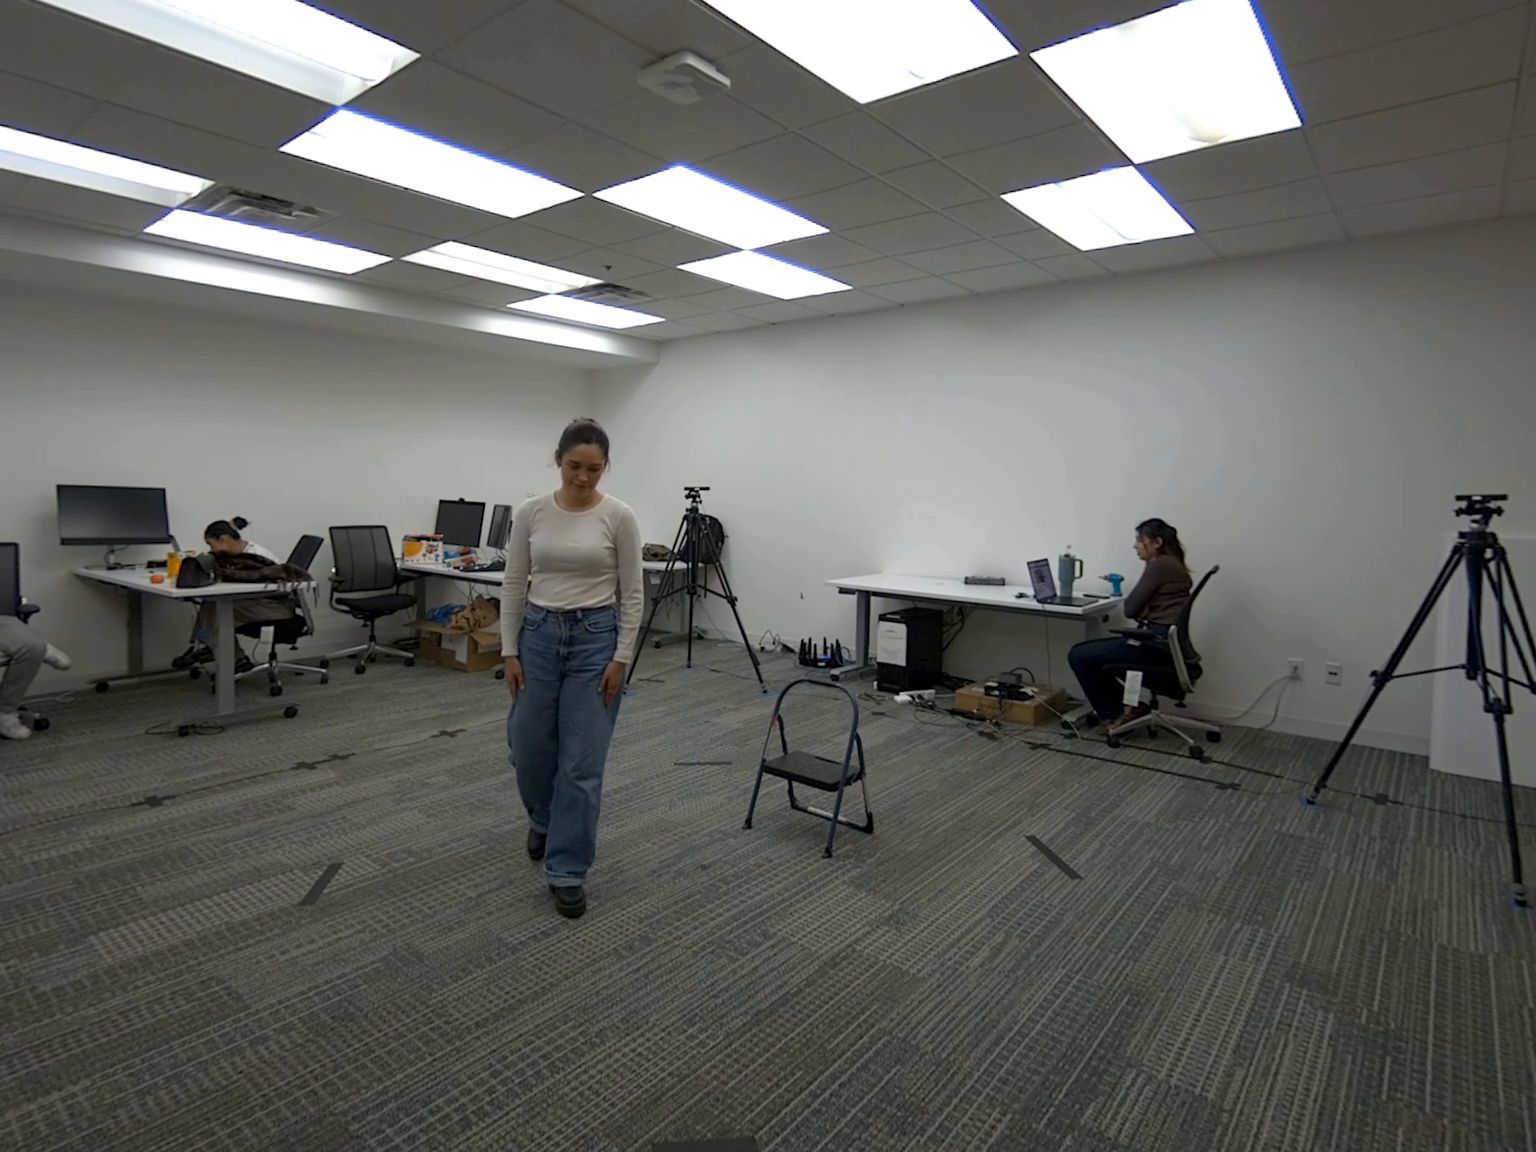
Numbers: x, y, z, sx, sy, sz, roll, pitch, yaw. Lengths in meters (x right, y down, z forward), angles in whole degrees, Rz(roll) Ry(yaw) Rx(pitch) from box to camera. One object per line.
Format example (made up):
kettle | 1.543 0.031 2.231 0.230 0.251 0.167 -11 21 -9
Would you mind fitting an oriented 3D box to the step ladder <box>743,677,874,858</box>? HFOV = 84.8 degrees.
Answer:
step ladder | 0.166 0.734 3.461 0.445 0.604 0.339 4 5 39
